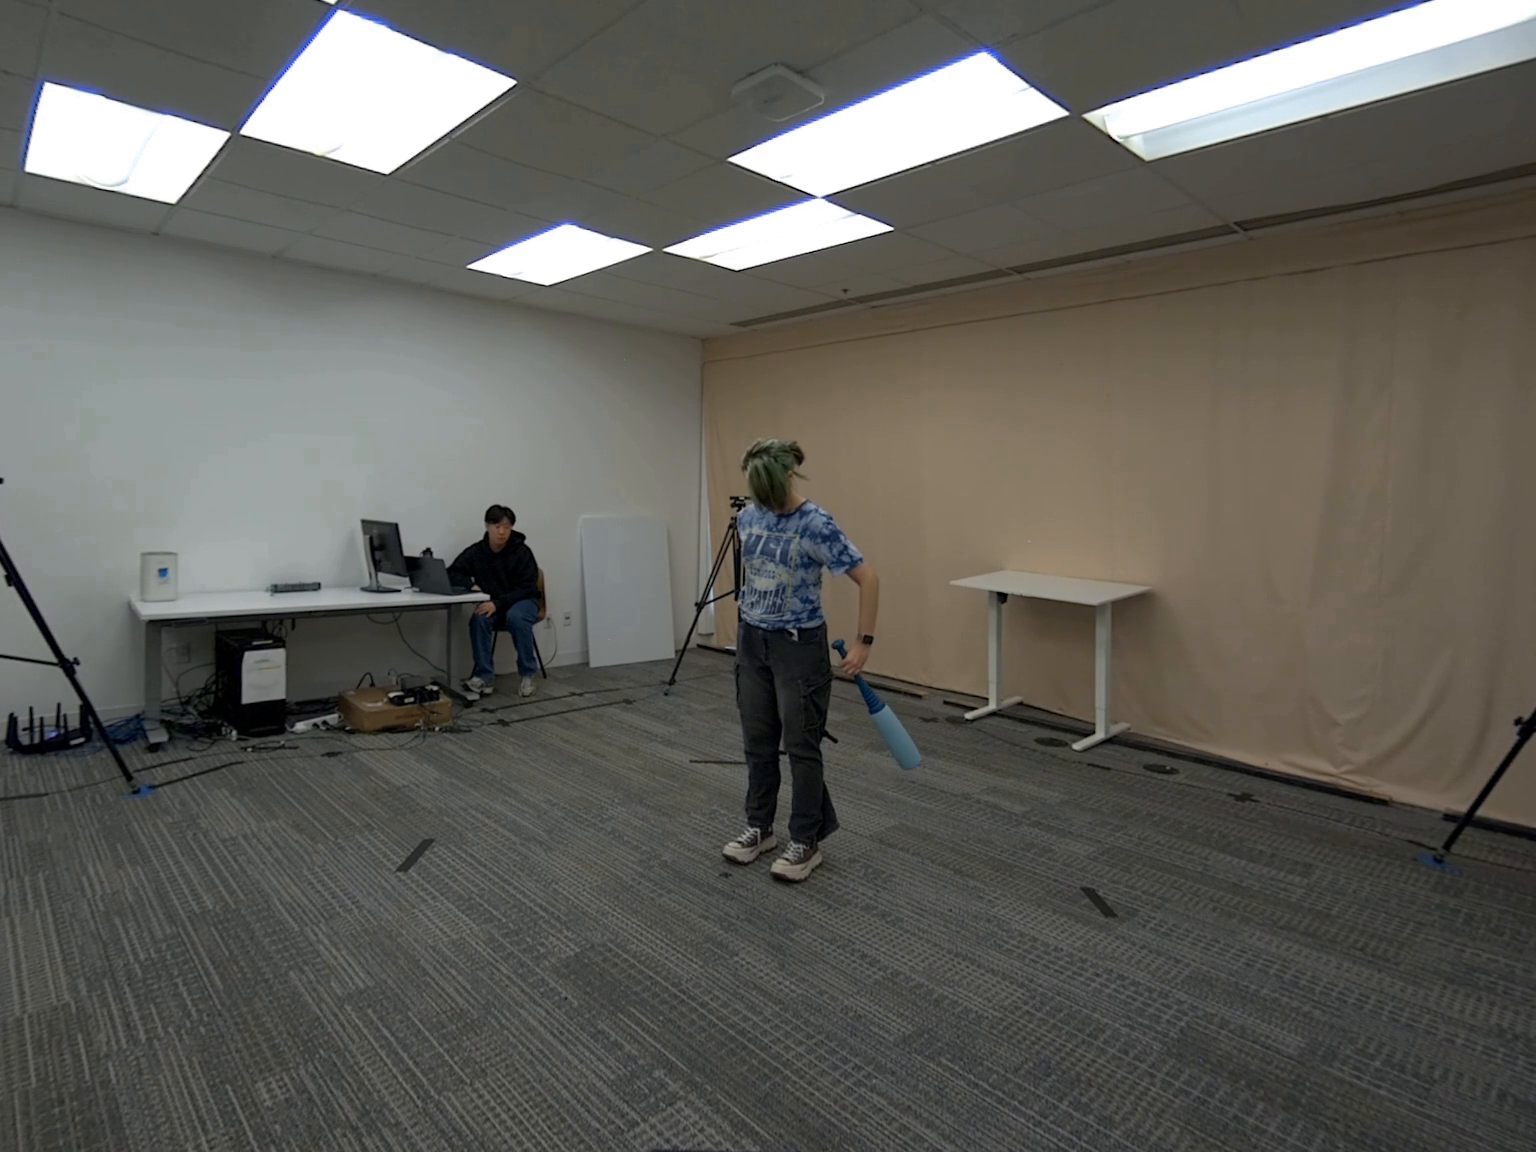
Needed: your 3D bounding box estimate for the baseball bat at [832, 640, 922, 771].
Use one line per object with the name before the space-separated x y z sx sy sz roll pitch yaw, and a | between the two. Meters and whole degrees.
baseball bat | 0.367 0.463 3.059 0.089 0.541 0.089 -32 4 2
